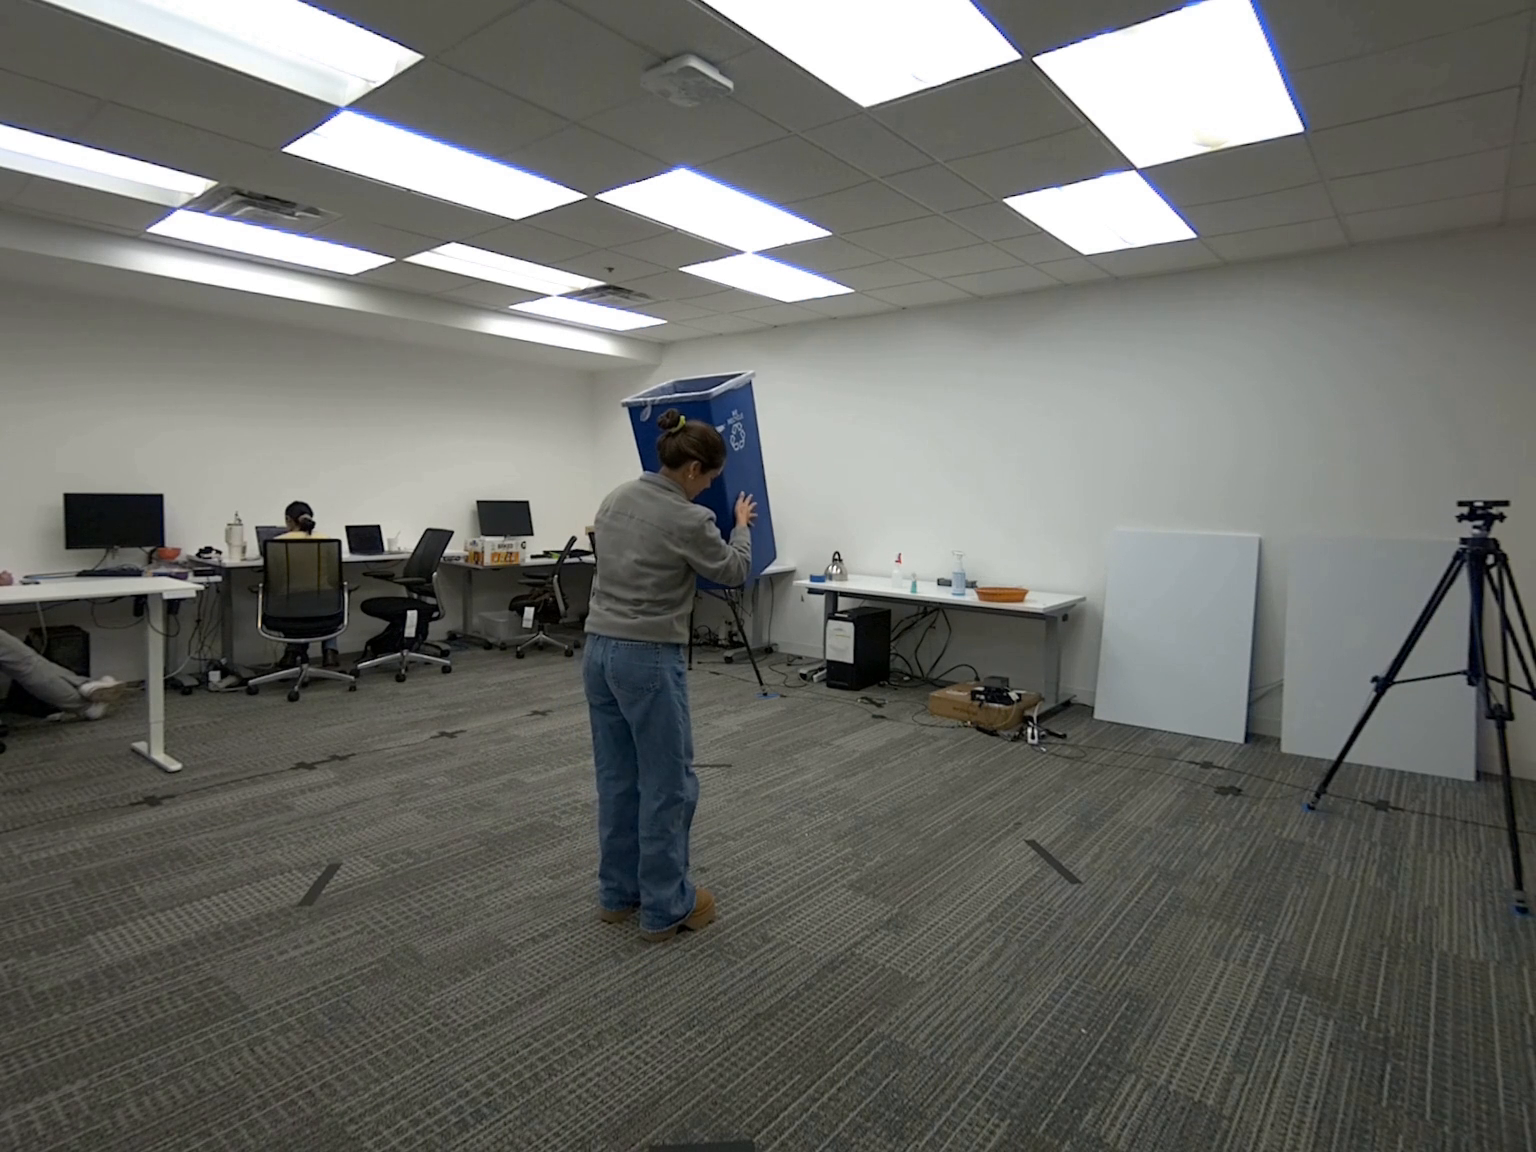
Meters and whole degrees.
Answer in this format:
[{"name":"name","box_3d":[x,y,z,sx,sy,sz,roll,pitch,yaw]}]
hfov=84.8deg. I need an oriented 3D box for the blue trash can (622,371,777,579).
[{"name":"blue trash can","box_3d":[-0.232,-0.342,3.085,0.389,0.699,0.371,0,21,30]}]
